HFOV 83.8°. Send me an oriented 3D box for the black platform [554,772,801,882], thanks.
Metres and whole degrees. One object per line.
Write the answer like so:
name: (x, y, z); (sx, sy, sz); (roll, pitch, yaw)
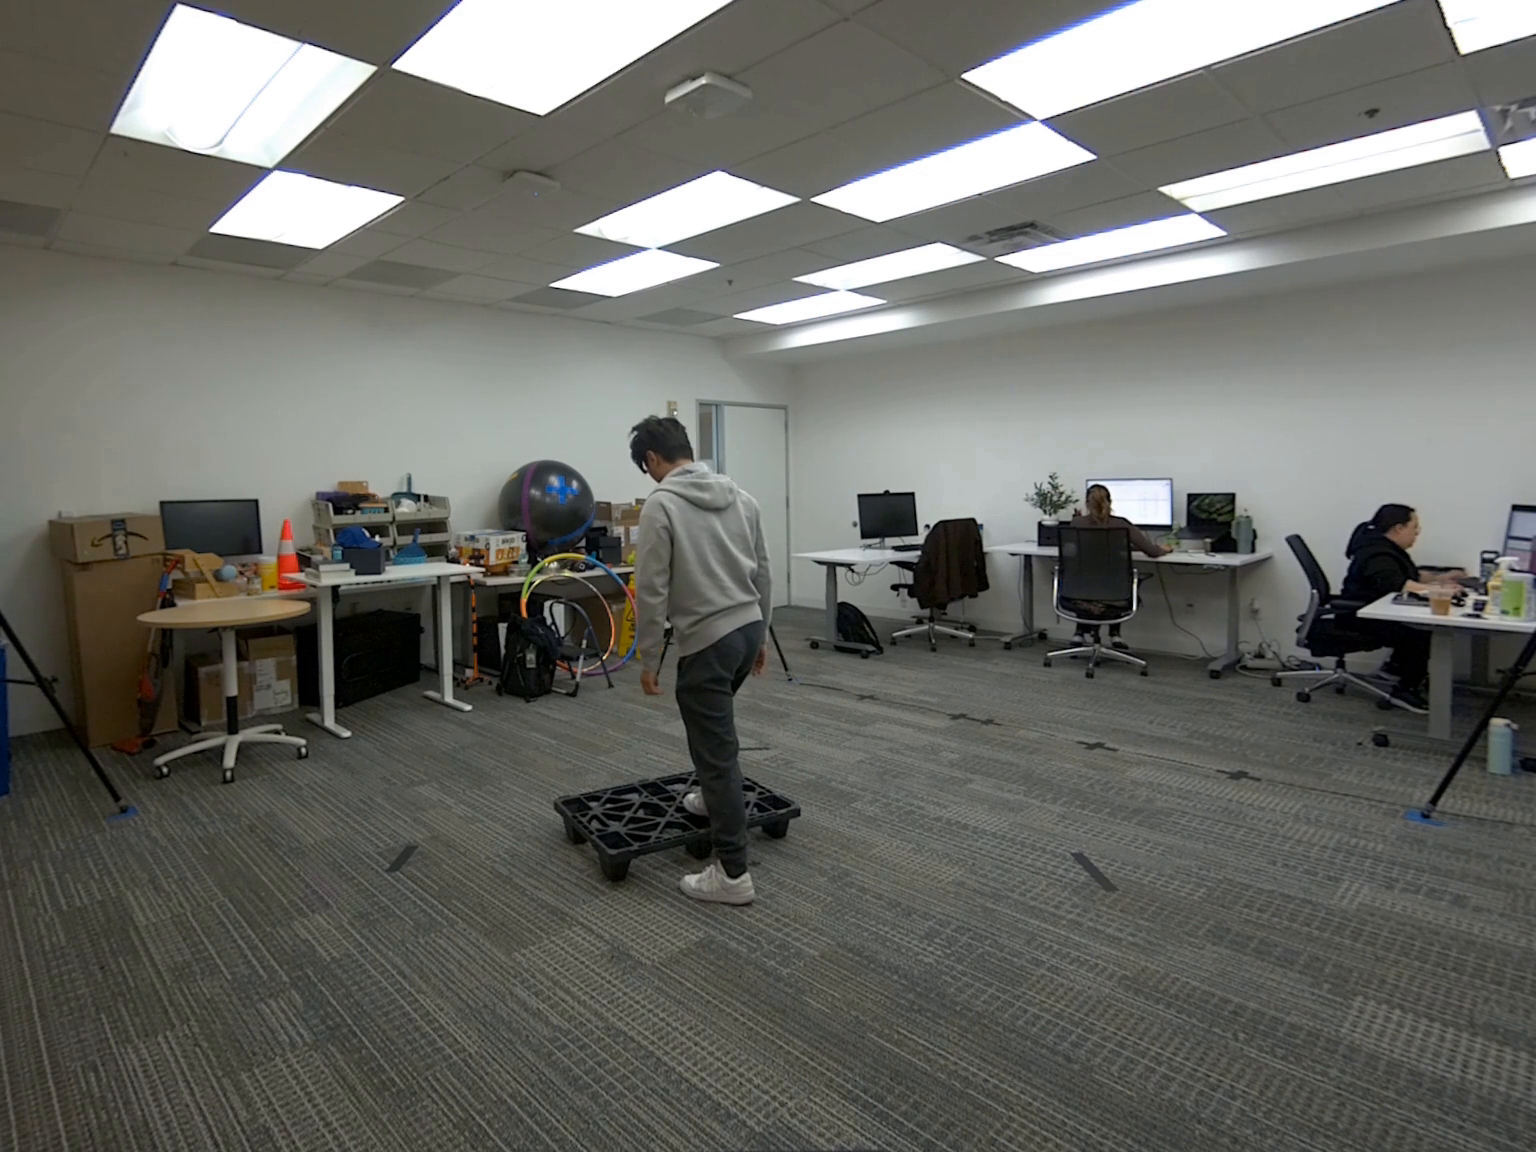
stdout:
black platform: (-0.353, 0.957, 3.350); (0.786, 0.142, 0.623); (-5, 8, -31)
